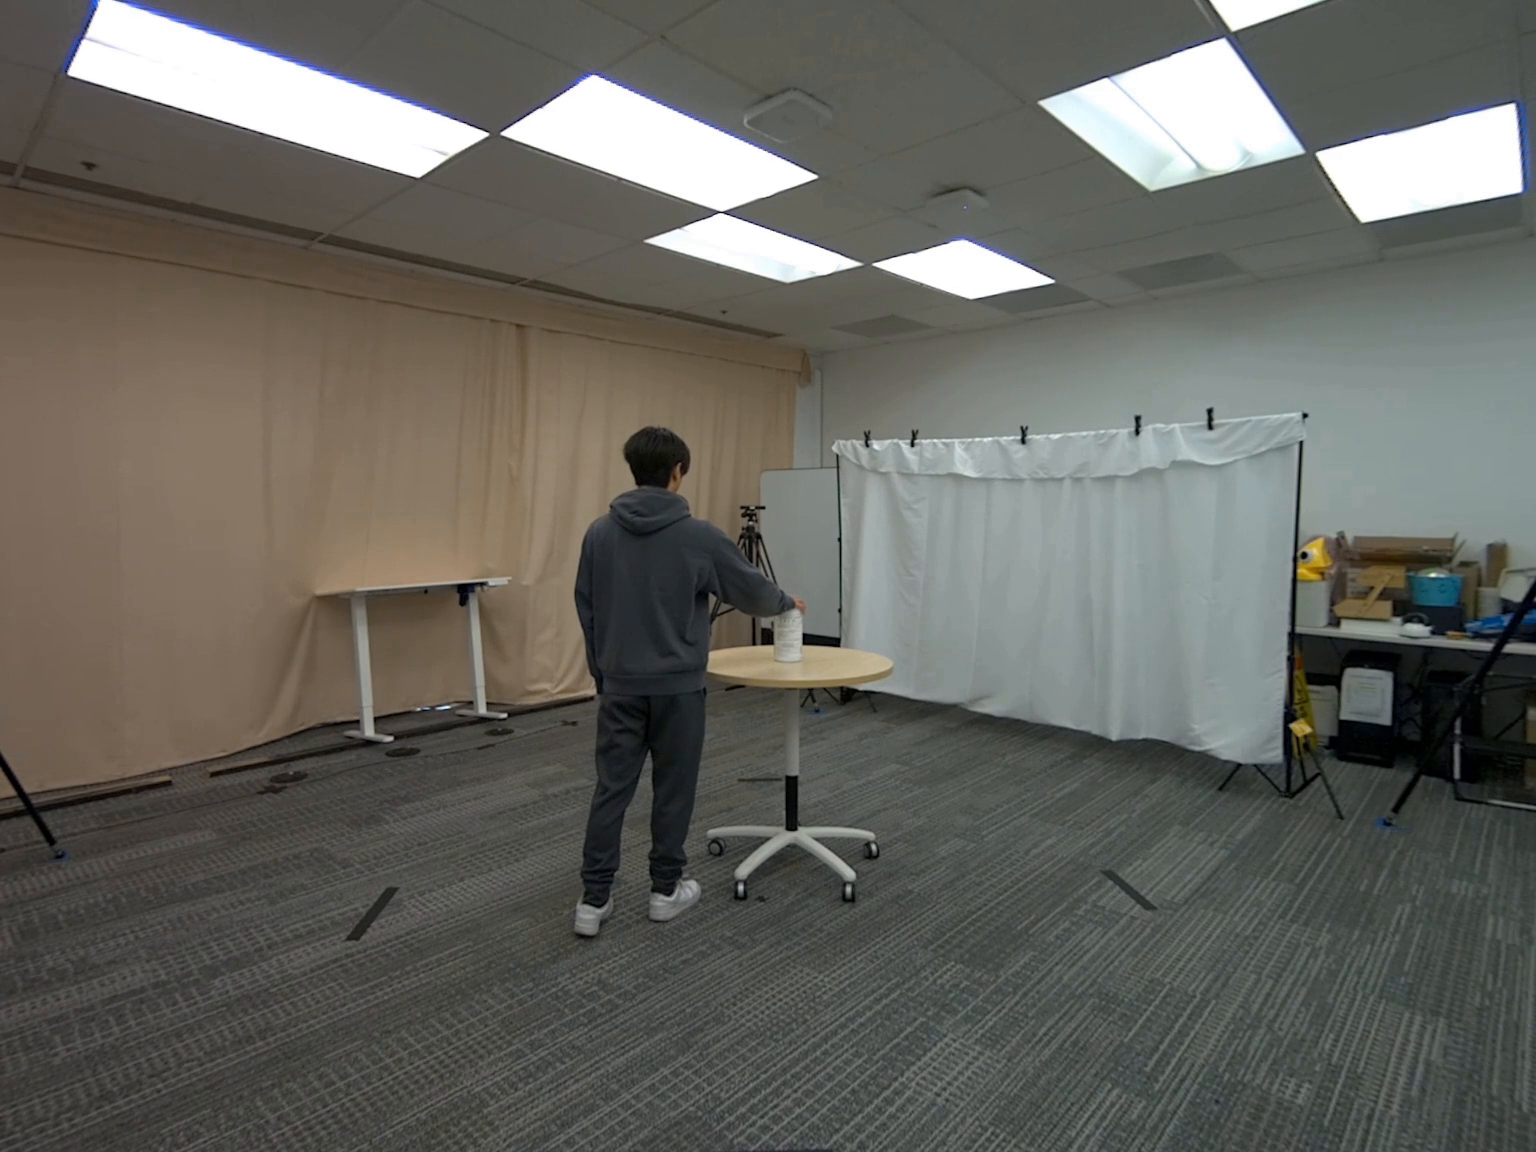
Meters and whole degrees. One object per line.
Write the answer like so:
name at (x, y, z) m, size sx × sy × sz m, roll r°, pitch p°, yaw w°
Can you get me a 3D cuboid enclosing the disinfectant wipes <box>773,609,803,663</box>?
disinfectant wipes at (0.084, 0.219, 3.242) m, size 0.118 × 0.217 × 0.118 m, roll -1°, pitch 4°, yaw -2°
